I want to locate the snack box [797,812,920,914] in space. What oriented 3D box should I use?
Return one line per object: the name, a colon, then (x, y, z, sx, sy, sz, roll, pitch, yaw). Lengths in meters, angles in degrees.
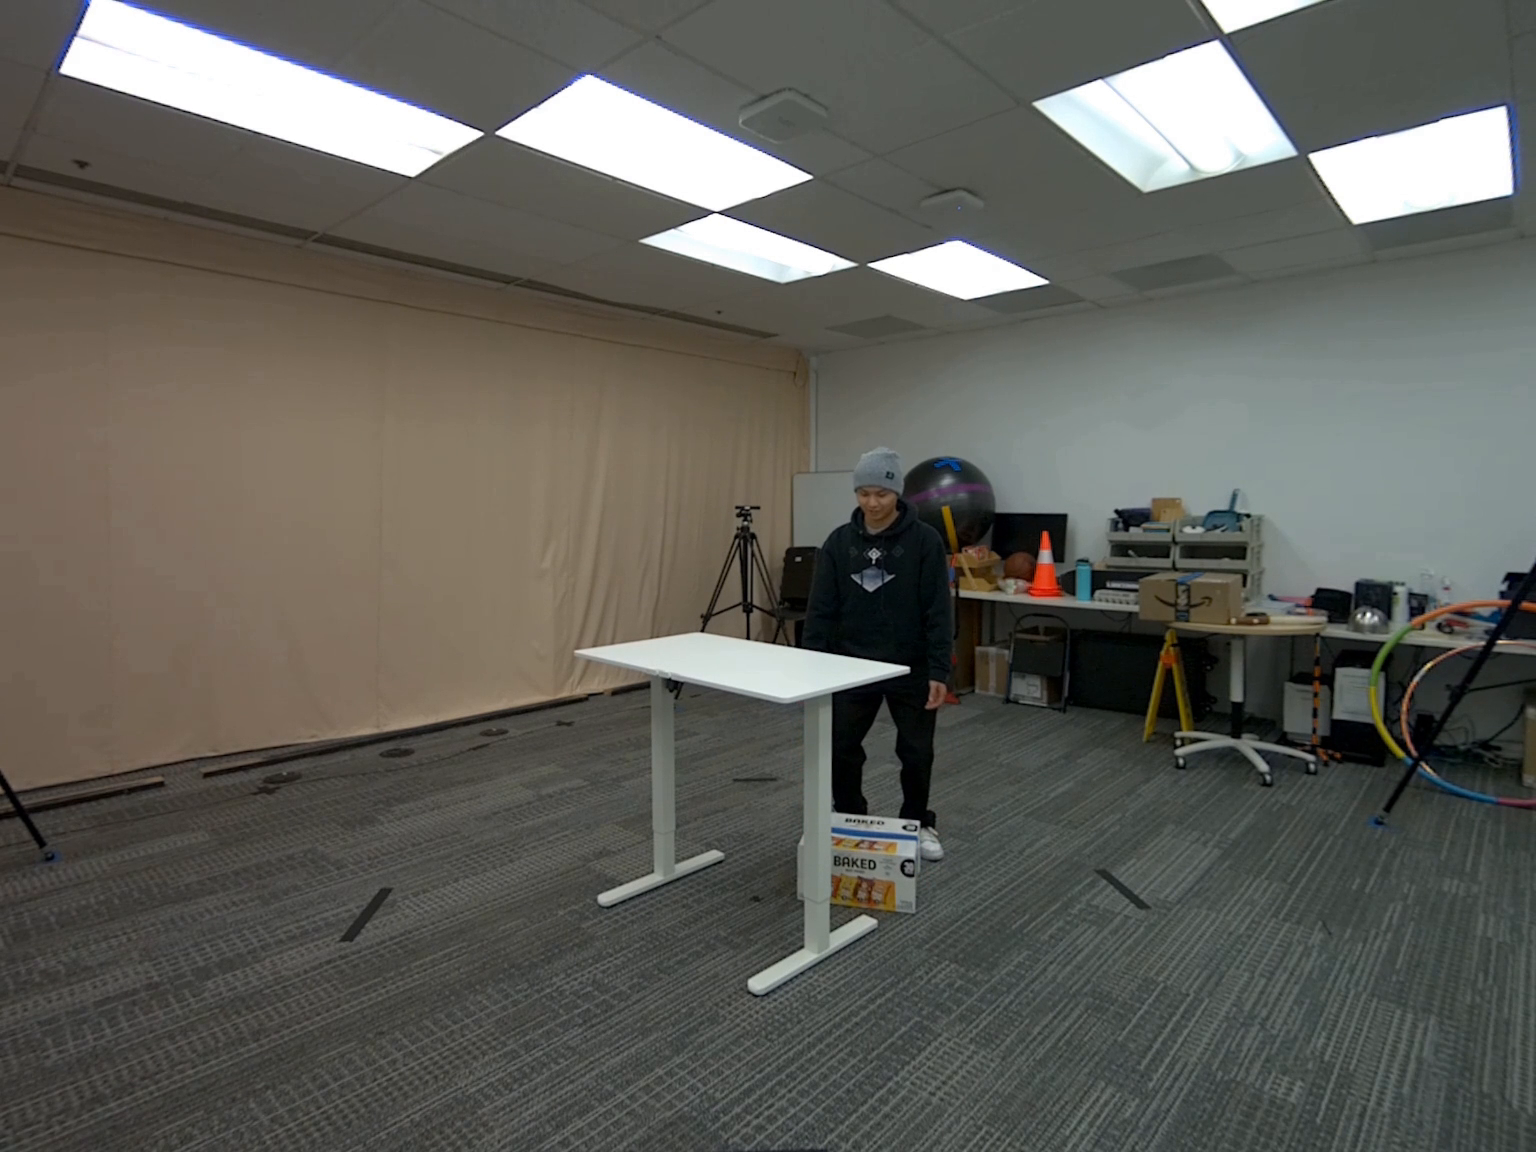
snack box: (0.343, 1.035, 3.071, 0.412, 0.205, 0.336, 1, 5, 15)
